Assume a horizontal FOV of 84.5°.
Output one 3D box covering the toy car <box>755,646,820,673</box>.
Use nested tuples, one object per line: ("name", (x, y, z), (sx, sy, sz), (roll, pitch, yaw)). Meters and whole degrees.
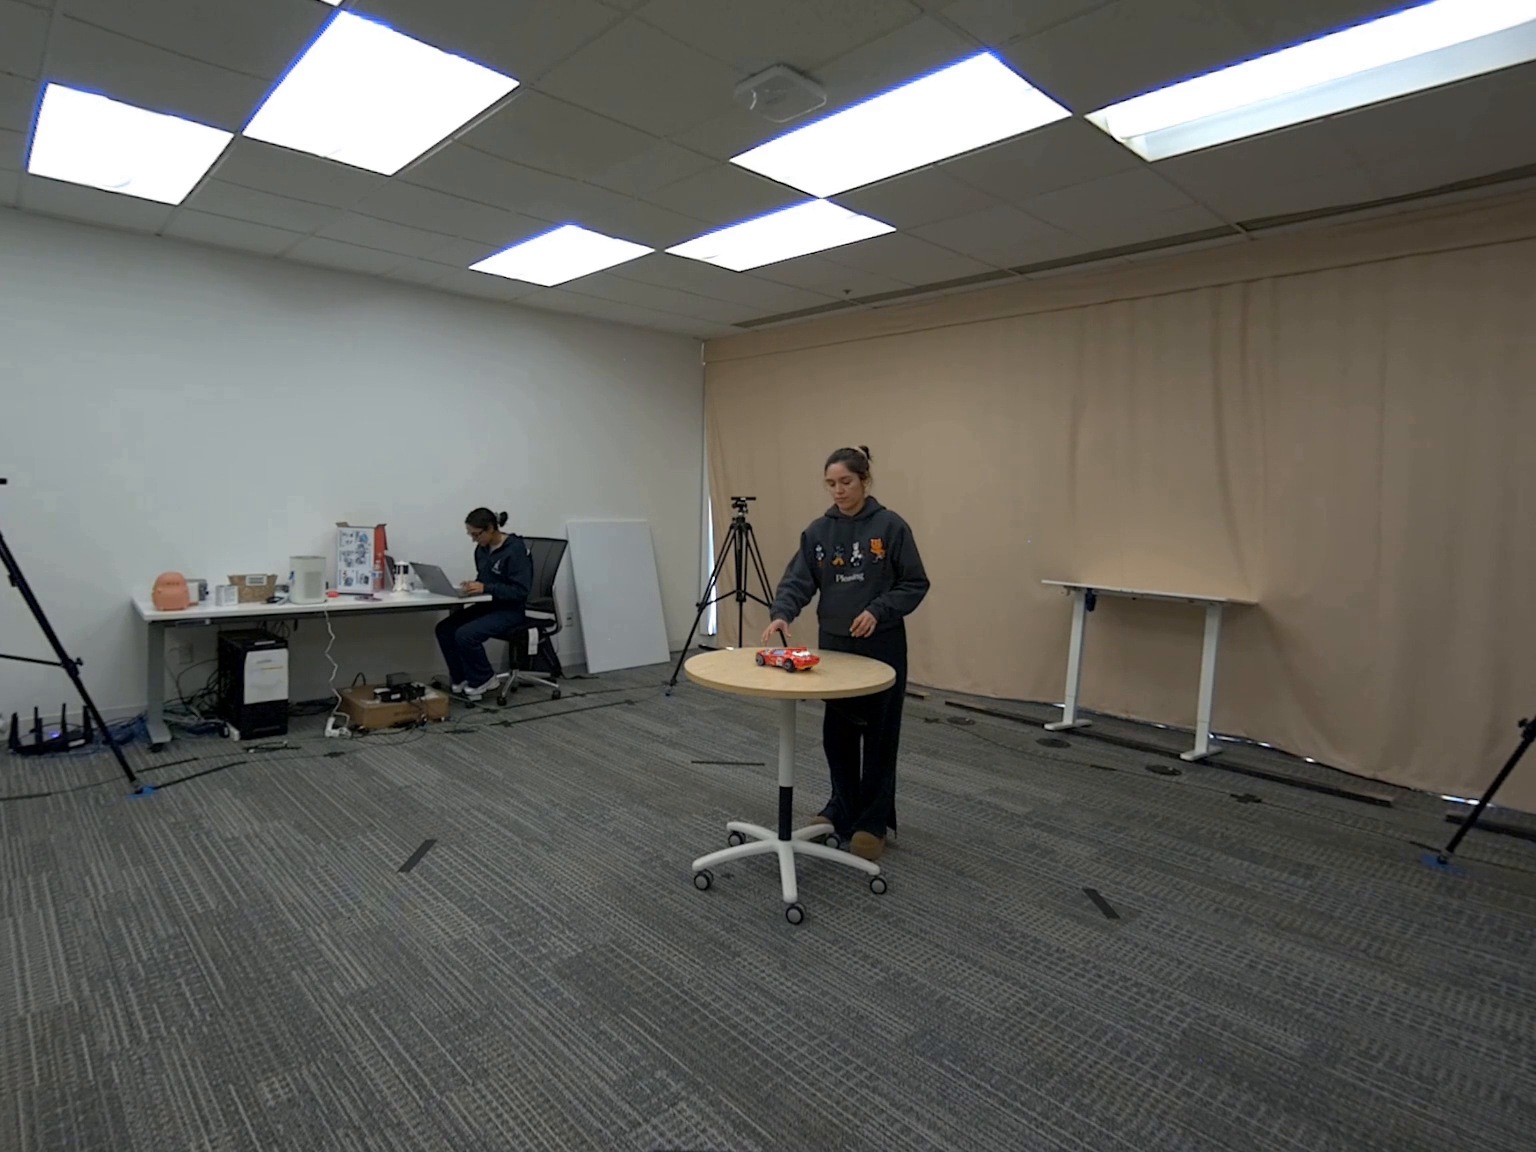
("toy car", (0.067, 0.304, 3.043), (0.127, 0.083, 0.259), (-4, -3, -44))
